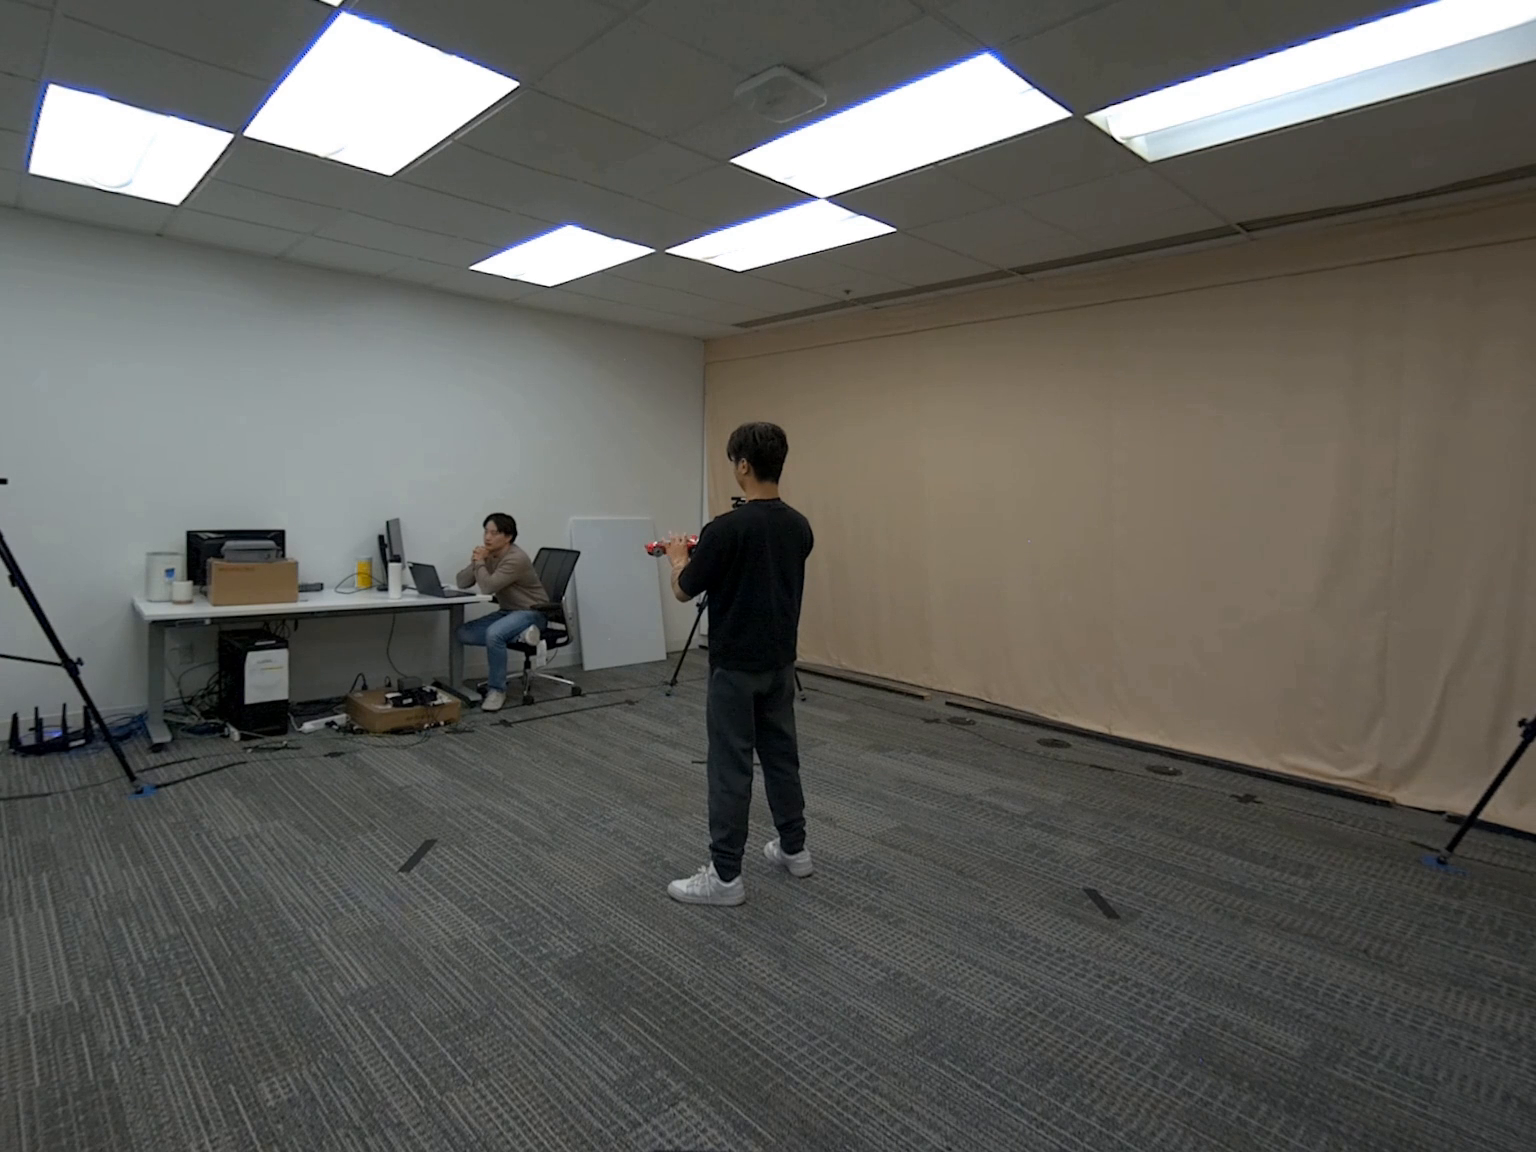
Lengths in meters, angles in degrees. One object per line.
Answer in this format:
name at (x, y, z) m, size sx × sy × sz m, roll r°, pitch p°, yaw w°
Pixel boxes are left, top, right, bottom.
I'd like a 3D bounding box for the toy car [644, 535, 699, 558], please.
toy car at (-0.351, -0.108, 3.271) m, size 0.252 × 0.082 × 0.132 m, roll -10°, pitch 9°, yaw -17°
